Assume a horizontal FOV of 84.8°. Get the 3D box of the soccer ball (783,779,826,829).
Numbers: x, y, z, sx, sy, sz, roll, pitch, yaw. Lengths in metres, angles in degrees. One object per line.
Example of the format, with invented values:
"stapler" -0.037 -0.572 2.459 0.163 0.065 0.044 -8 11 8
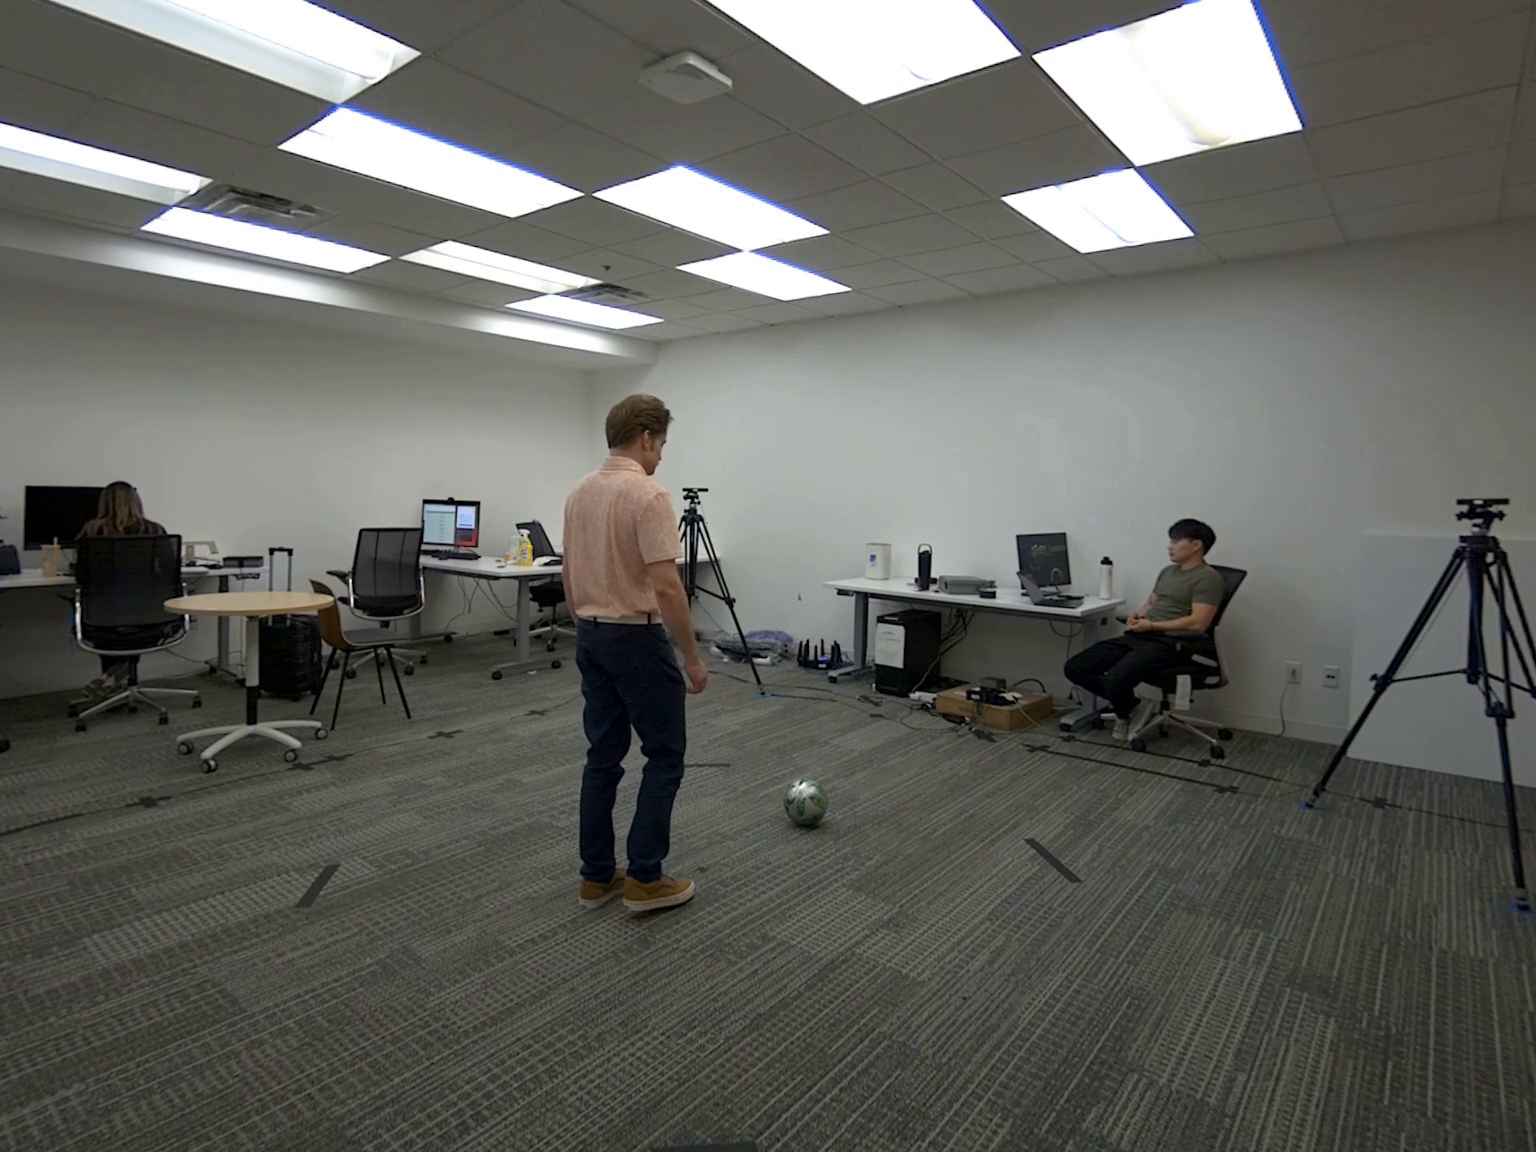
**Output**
"soccer ball" 0.149 0.941 3.554 0.187 0.187 0.188 1 4 -2
